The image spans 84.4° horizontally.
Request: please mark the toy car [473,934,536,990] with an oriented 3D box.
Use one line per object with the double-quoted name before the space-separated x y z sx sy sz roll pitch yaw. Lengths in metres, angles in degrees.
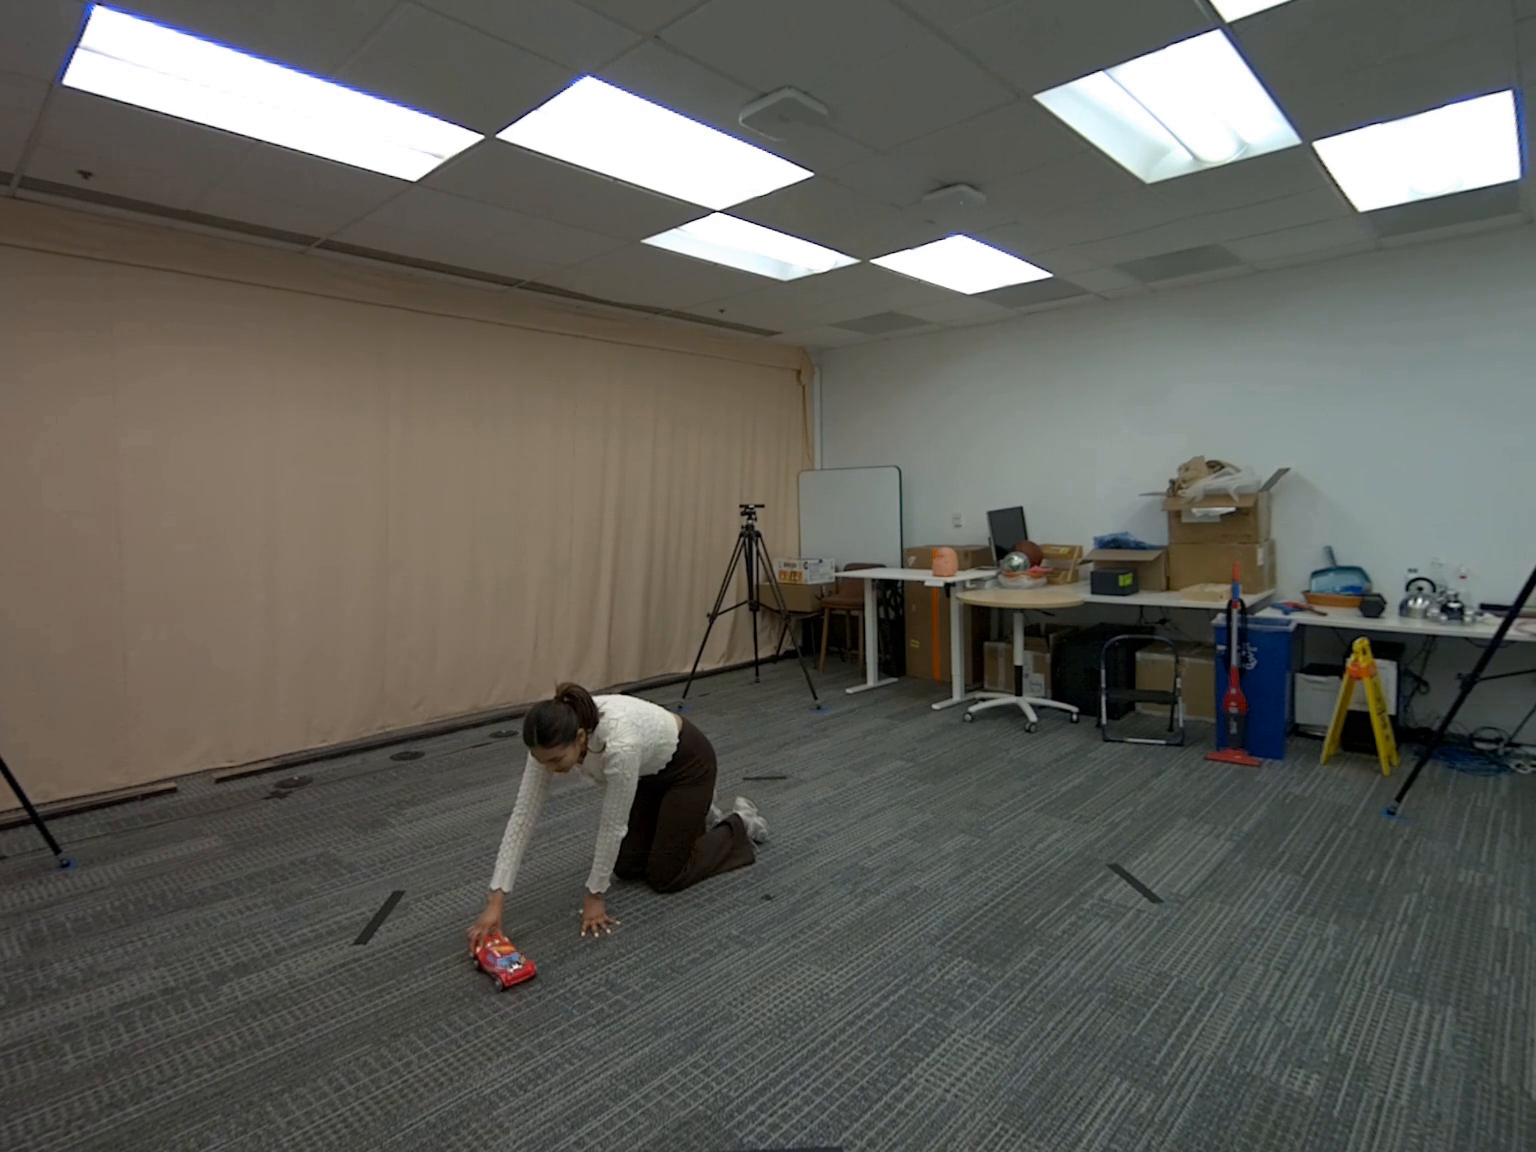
"toy car" -0.804 1.164 2.537 0.126 0.083 0.264 -6 16 -42
